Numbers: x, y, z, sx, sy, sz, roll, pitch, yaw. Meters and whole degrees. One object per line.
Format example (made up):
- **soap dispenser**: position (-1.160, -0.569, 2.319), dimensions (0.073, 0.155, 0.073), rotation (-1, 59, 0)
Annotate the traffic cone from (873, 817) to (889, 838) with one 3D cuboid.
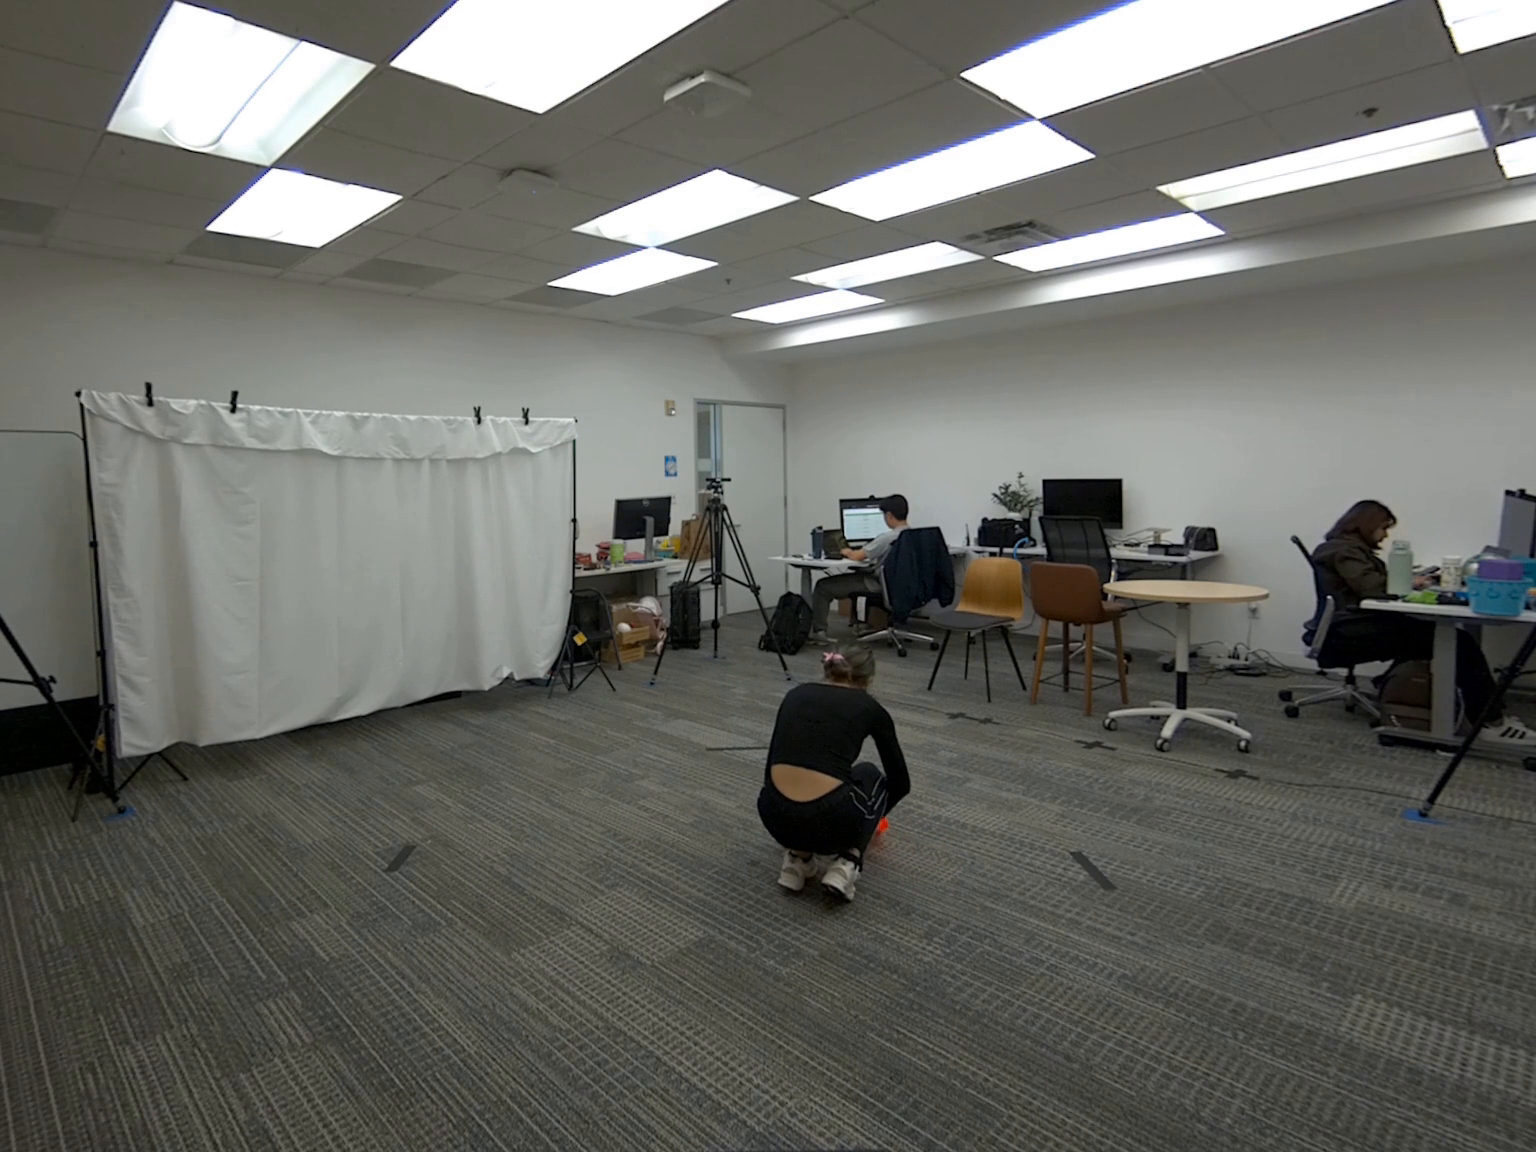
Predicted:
- **traffic cone**: position (0.240, 0.954, 3.294), dimensions (0.381, 0.208, 0.201), rotation (-18, -22, -10)
